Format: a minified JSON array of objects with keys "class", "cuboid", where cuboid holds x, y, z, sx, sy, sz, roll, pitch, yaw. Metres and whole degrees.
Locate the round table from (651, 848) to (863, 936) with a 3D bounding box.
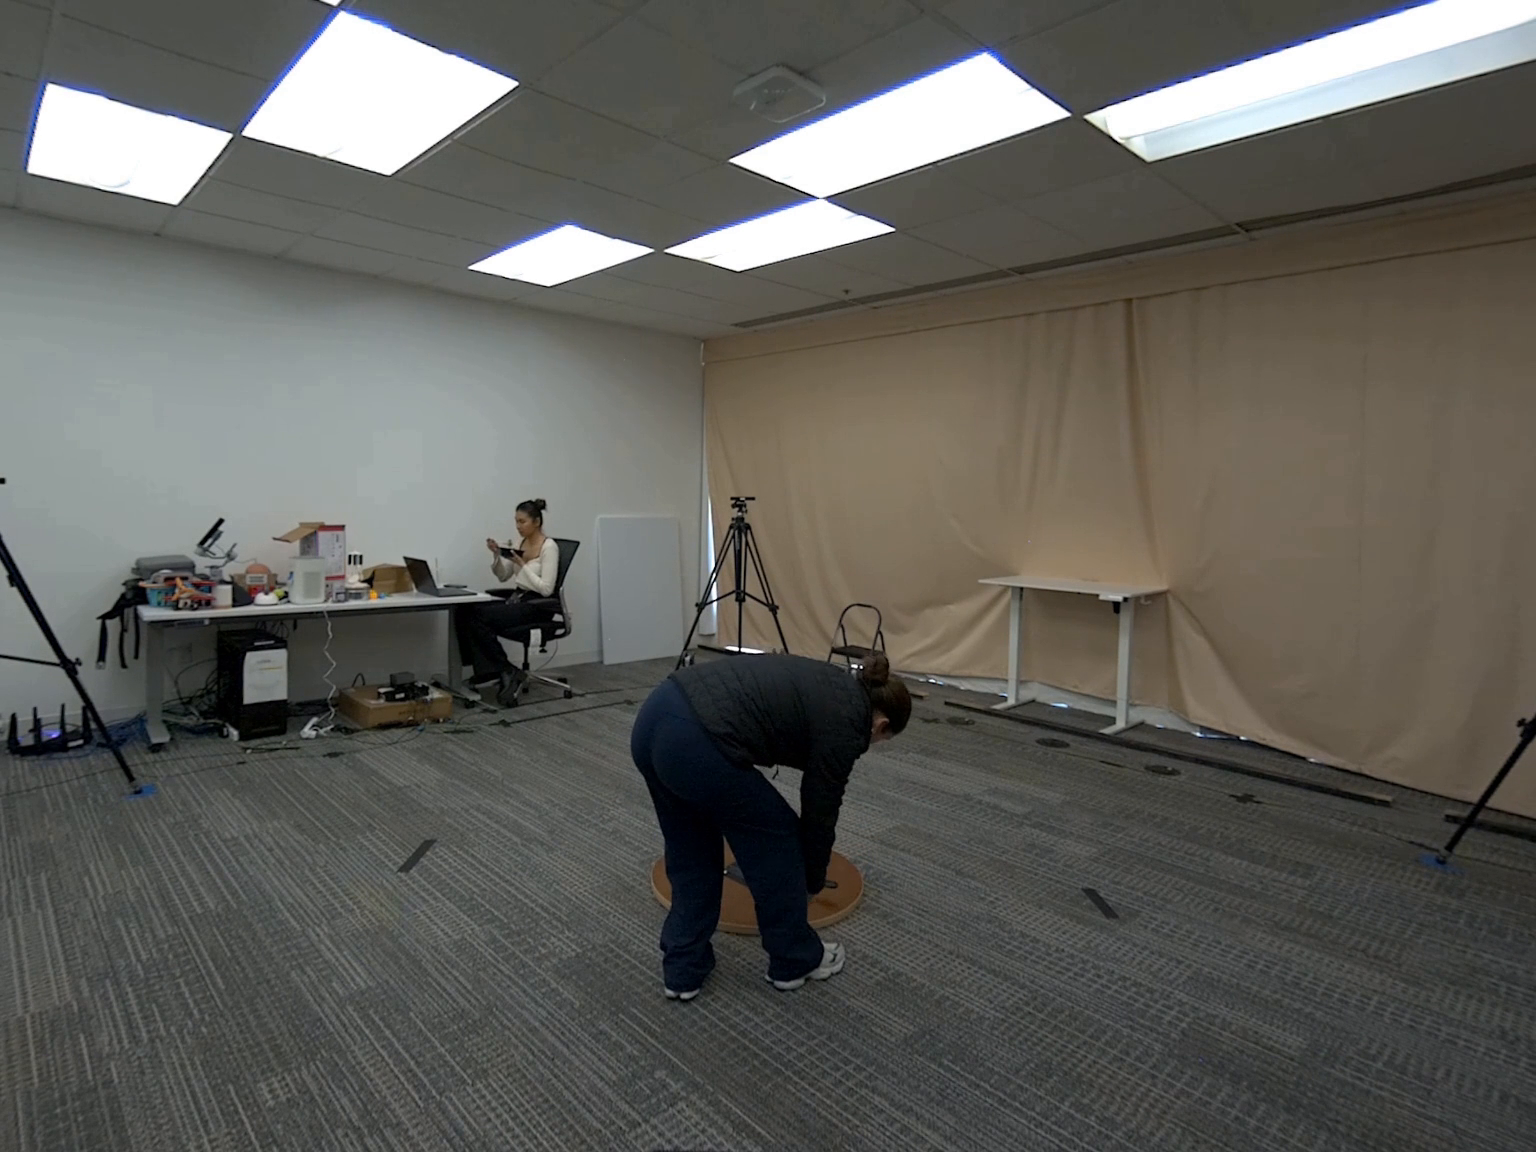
[{"class":"round table","cuboid":[-0.022,0.717,3.023,0.784,0.785,0.787,1,3,-1]}]
